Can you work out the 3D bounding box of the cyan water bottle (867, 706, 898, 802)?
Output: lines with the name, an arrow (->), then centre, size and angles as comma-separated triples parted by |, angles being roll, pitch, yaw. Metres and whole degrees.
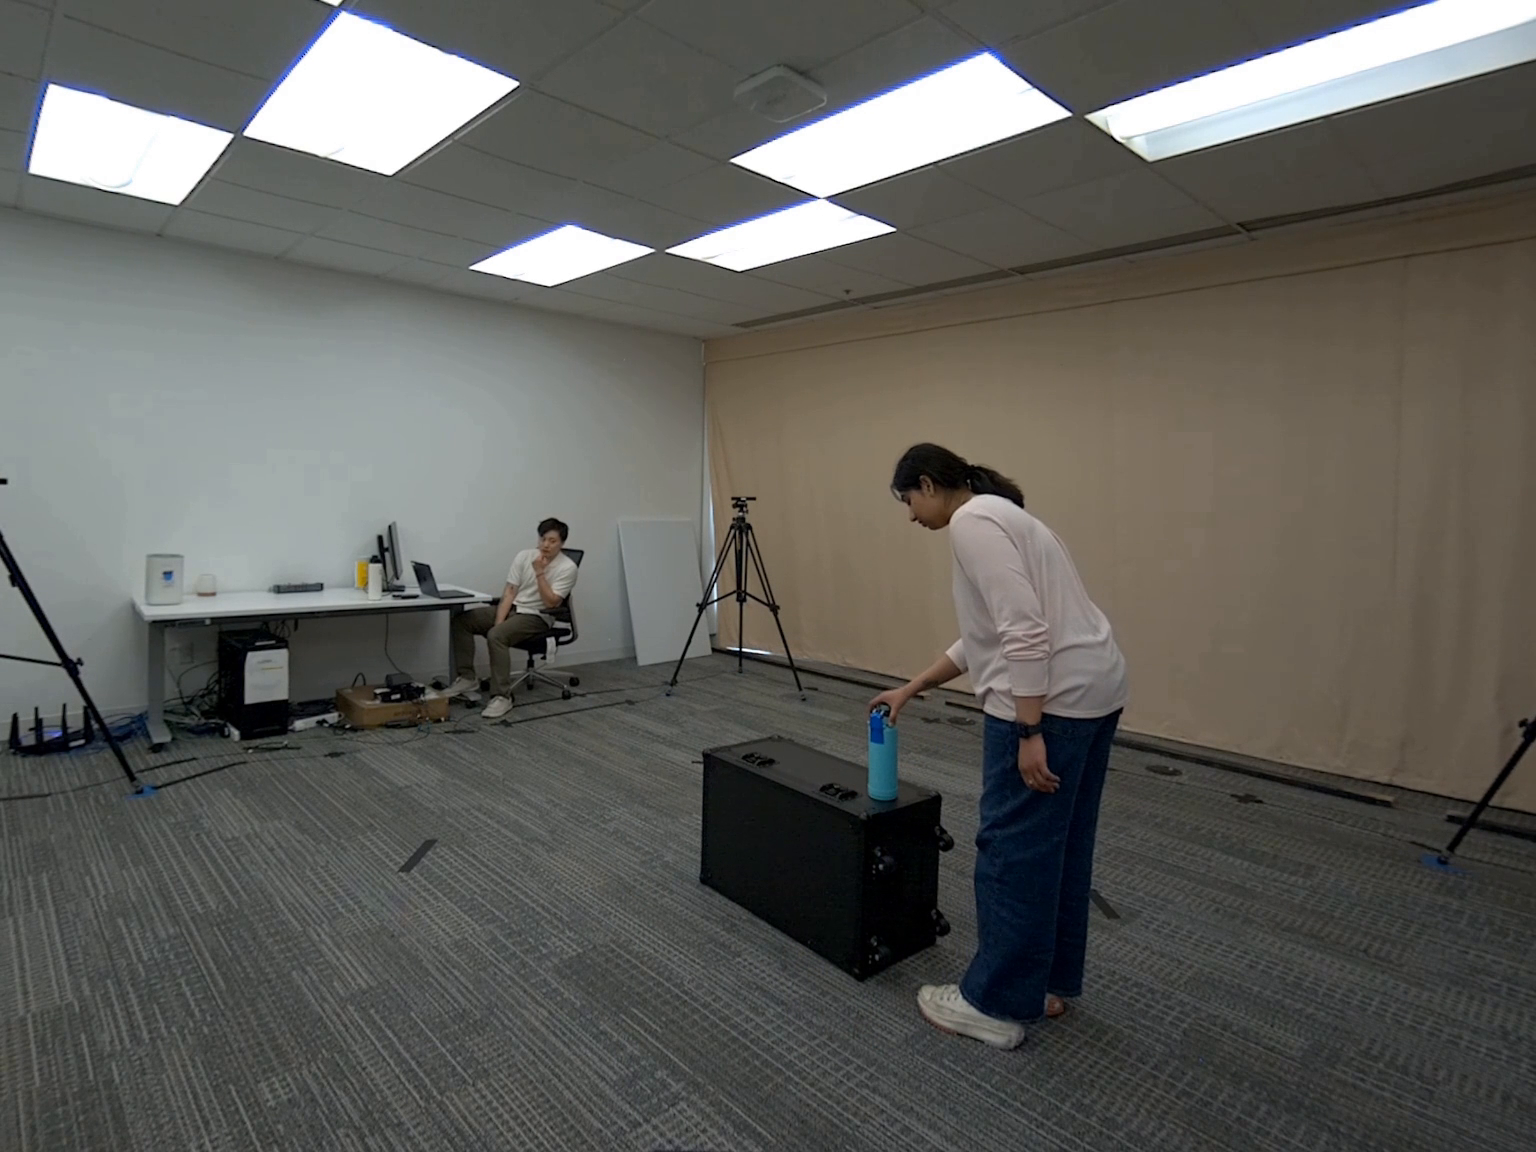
cyan water bottle -> 0.354, 0.545, 2.595 | 0.092, 0.282, 0.093 | 1, 6, -2
